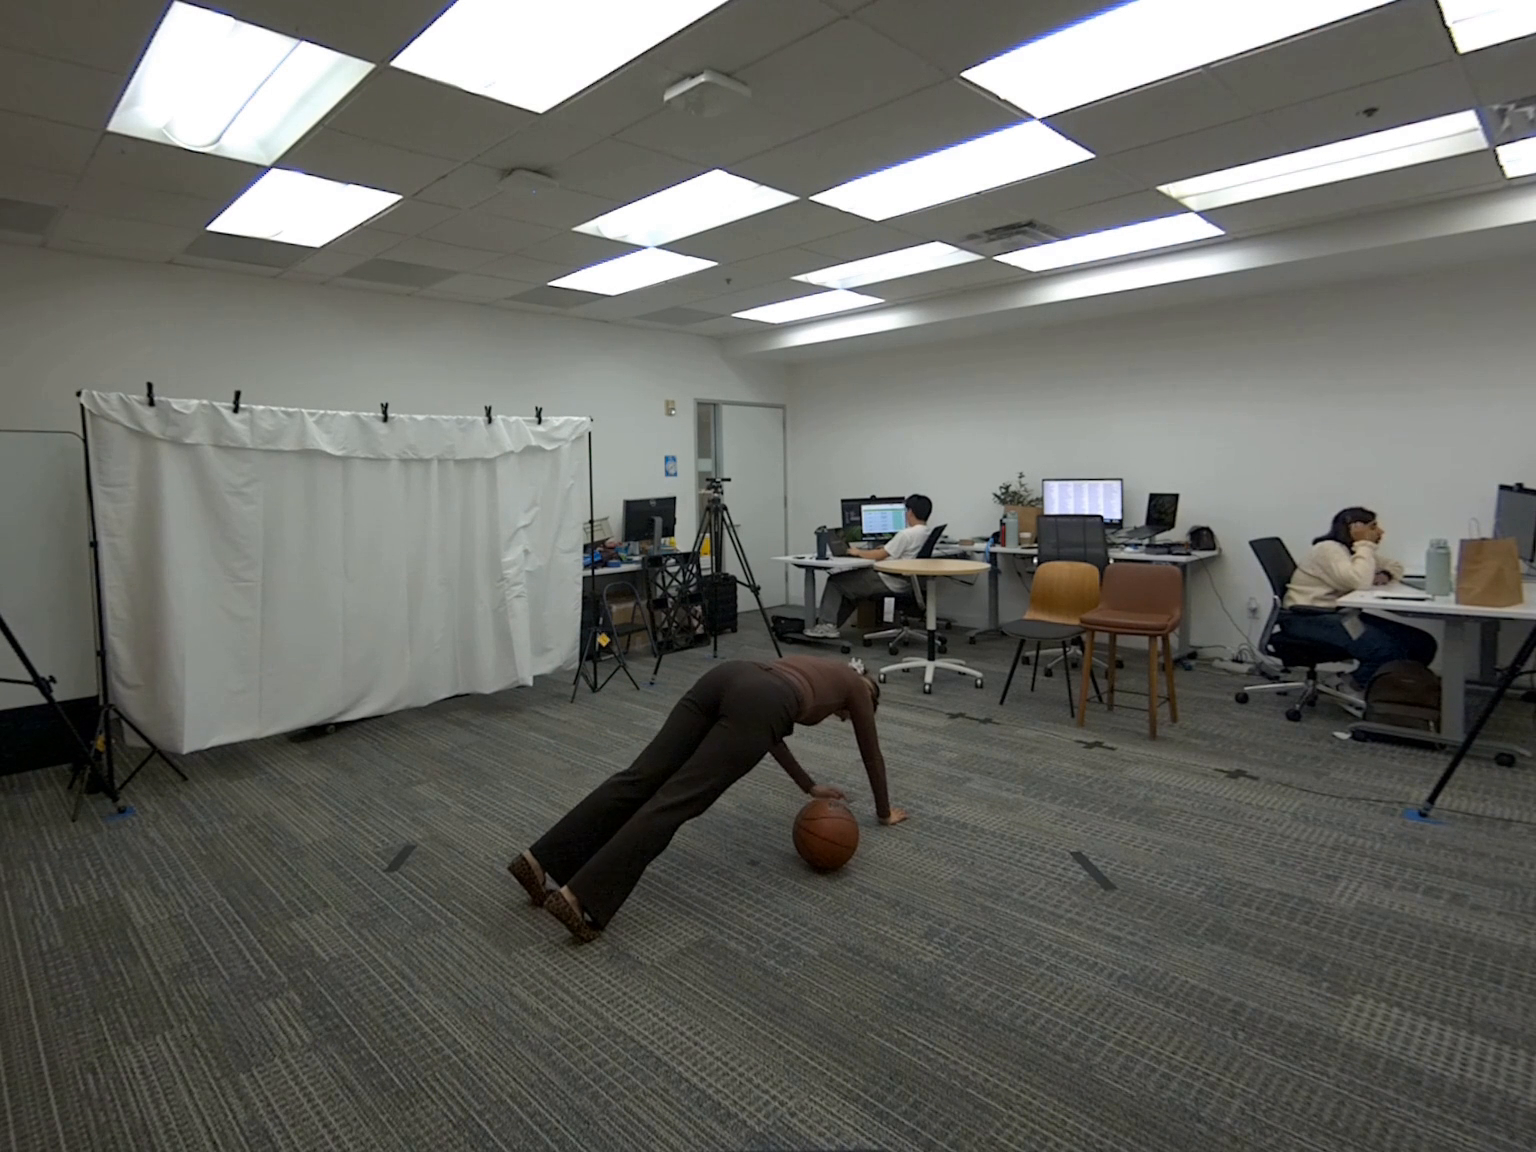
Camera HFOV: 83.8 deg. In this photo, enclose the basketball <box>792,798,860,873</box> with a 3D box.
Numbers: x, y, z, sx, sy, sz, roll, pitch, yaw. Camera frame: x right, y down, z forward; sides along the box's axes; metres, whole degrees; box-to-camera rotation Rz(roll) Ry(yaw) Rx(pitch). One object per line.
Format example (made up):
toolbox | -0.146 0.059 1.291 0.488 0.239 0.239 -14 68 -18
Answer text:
basketball | 0.213 0.923 3.069 0.236 0.235 0.237 -1 5 -2
